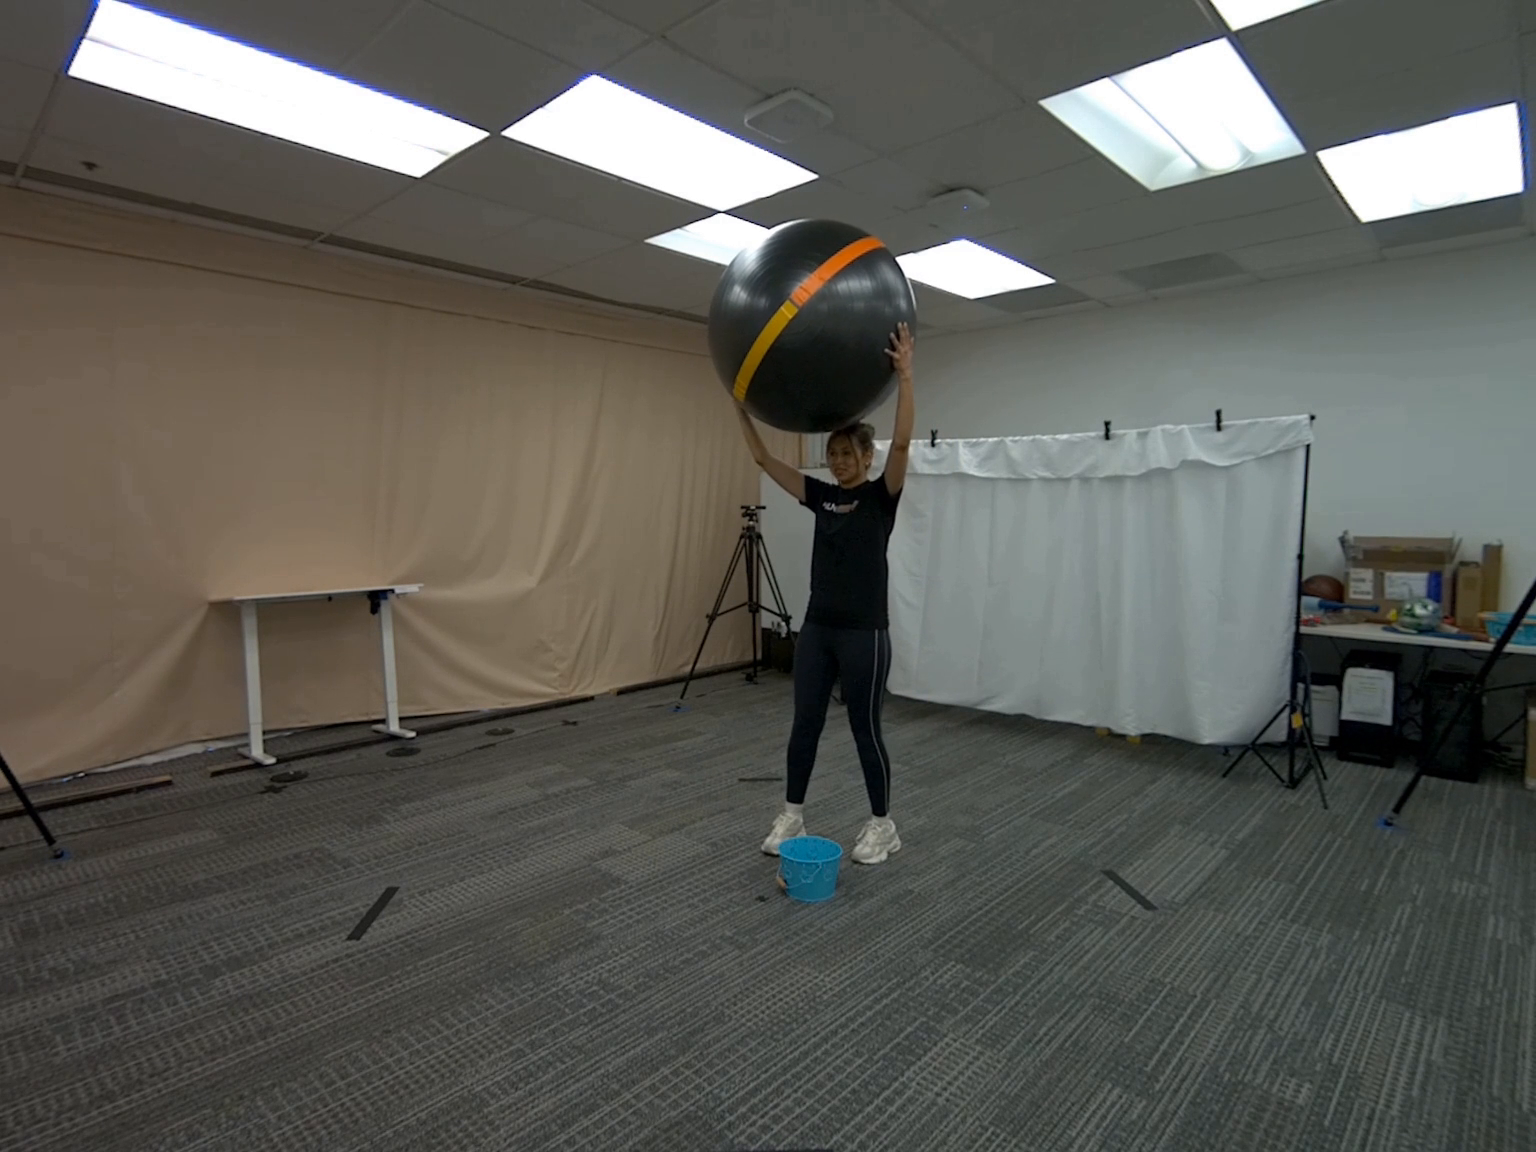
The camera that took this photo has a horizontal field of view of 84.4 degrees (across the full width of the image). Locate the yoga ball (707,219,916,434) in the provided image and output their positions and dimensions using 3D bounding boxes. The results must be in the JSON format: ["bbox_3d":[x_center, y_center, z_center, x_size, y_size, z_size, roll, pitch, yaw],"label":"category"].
[{"bbox_3d":[0.157,-0.897,3.084,0.757,0.756,0.760,0,4,-2],"label":"yoga ball"}]
